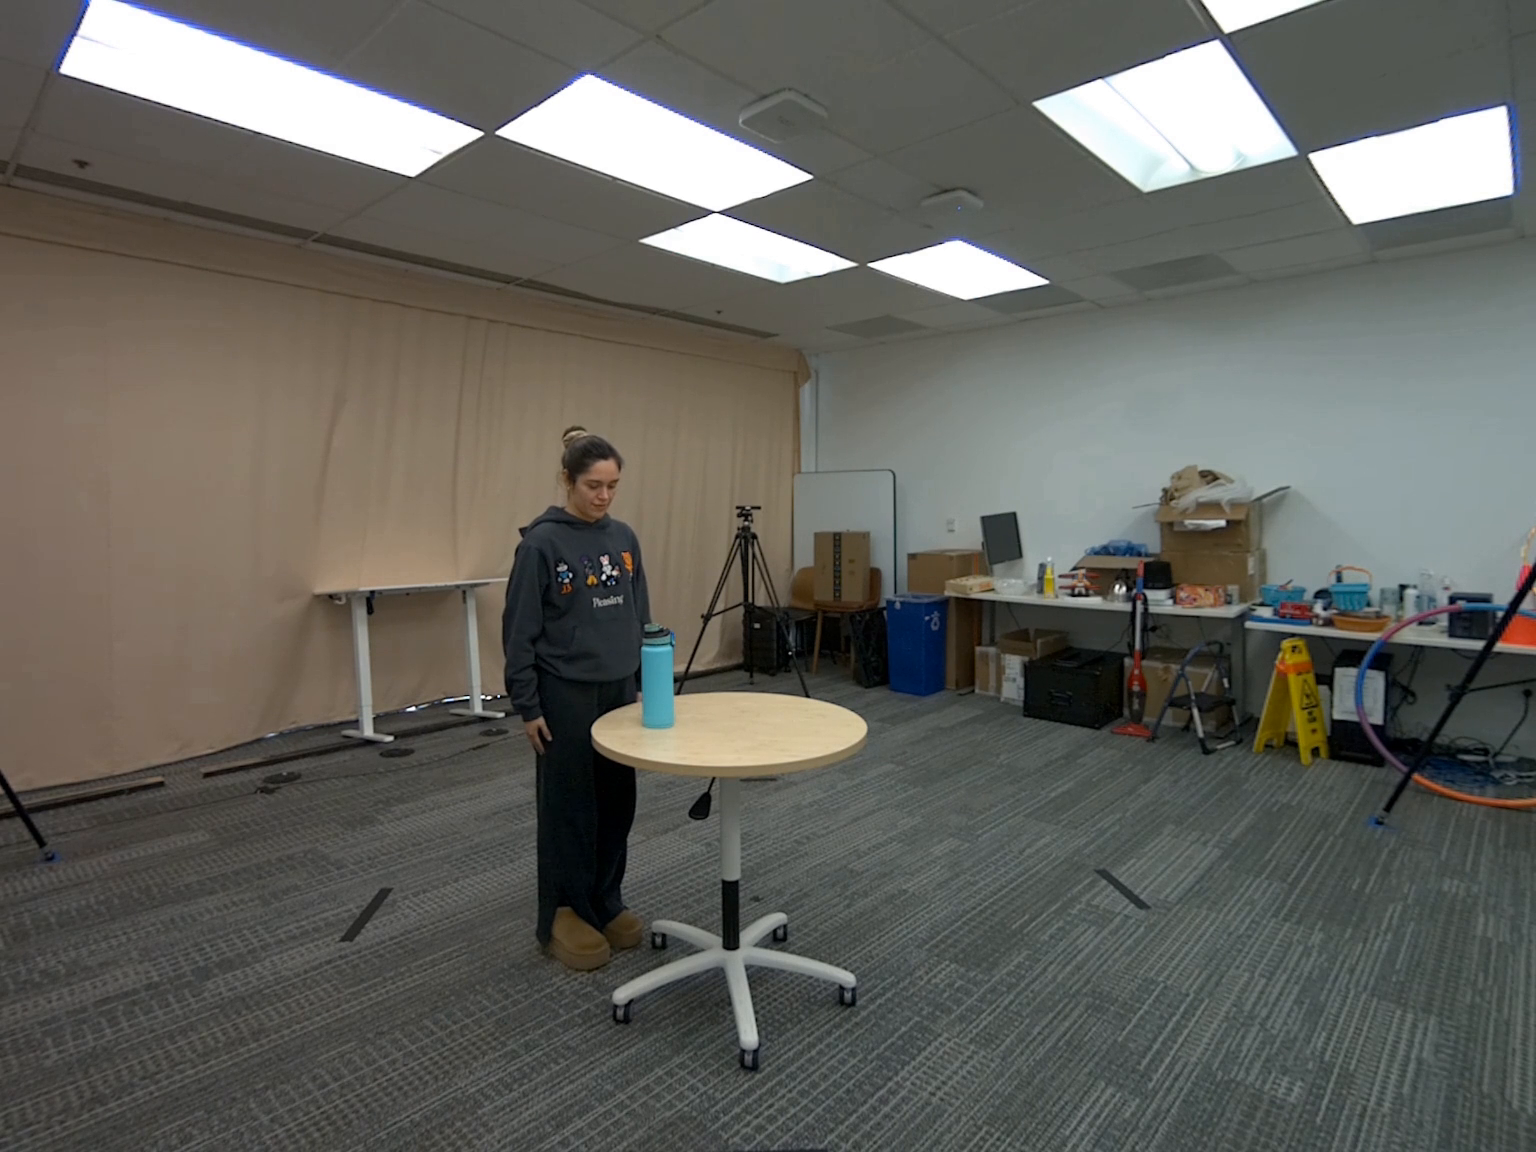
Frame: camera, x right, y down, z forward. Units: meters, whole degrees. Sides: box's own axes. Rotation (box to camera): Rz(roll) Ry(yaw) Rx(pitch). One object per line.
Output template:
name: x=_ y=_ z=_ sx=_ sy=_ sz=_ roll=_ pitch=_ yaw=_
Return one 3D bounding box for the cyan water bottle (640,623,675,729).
cyan water bottle: x=-0.308 y=0.281 z=2.350 sx=0.092 sy=0.283 sz=0.092 roll=-4 pitch=2 yaw=-2
